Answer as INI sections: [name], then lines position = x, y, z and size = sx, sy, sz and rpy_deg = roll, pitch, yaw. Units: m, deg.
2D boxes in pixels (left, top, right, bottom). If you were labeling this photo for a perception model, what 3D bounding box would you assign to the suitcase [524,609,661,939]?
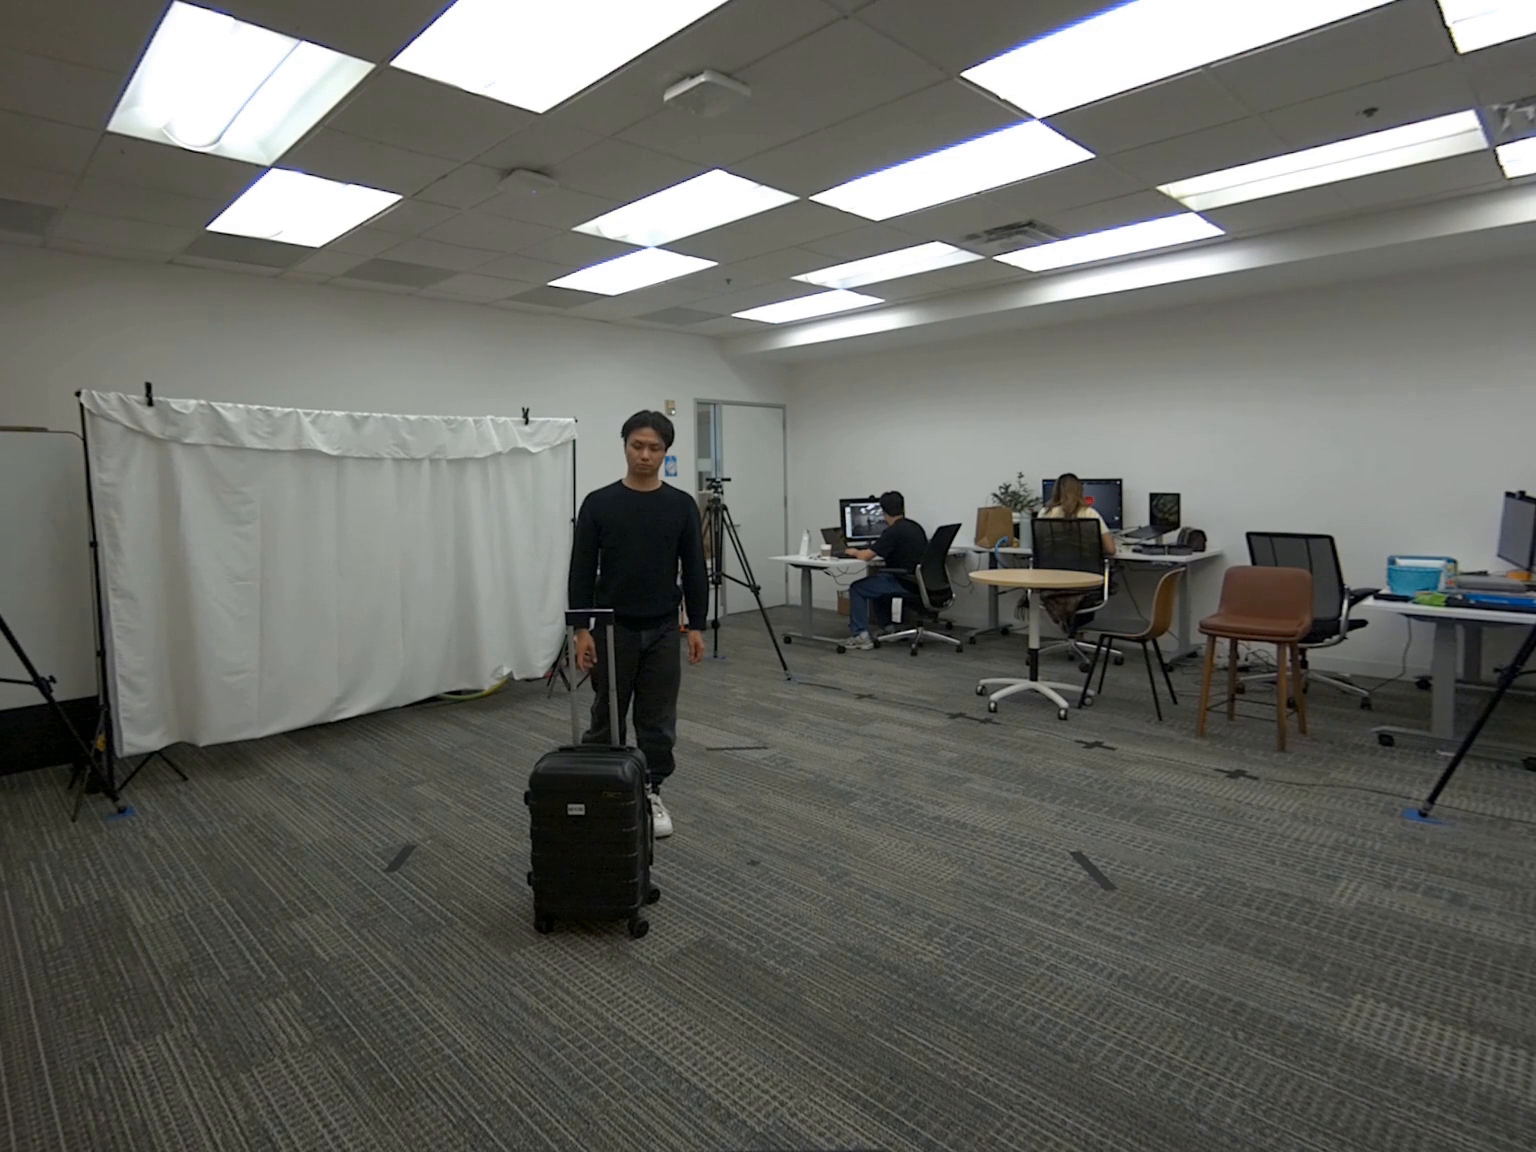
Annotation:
[suitcase]
position = -0.568, 0.628, 2.694
size = 0.386, 0.972, 0.257
rpy_deg = -2, 7, 5
